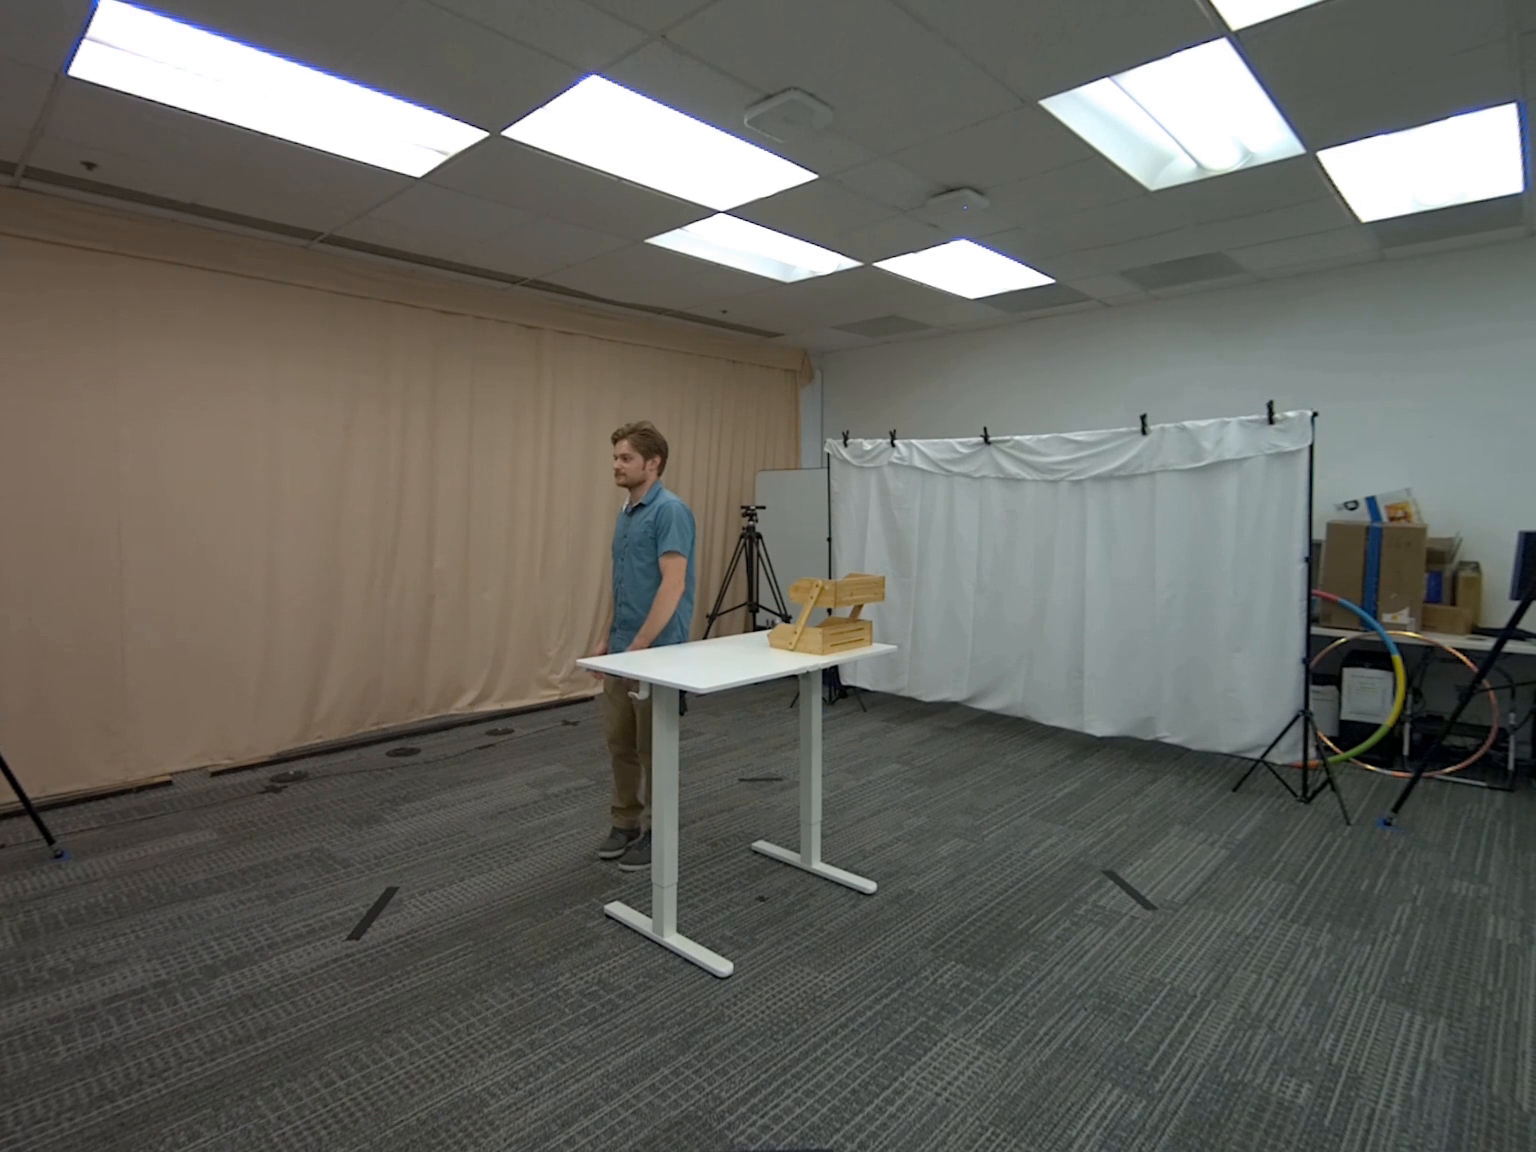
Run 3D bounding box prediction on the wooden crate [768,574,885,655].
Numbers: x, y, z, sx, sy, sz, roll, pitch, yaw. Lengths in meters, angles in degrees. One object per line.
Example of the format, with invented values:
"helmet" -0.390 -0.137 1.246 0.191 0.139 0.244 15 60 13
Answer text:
"wooden crate" 0.211 0.125 3.034 0.312 0.272 0.314 4 6 42
